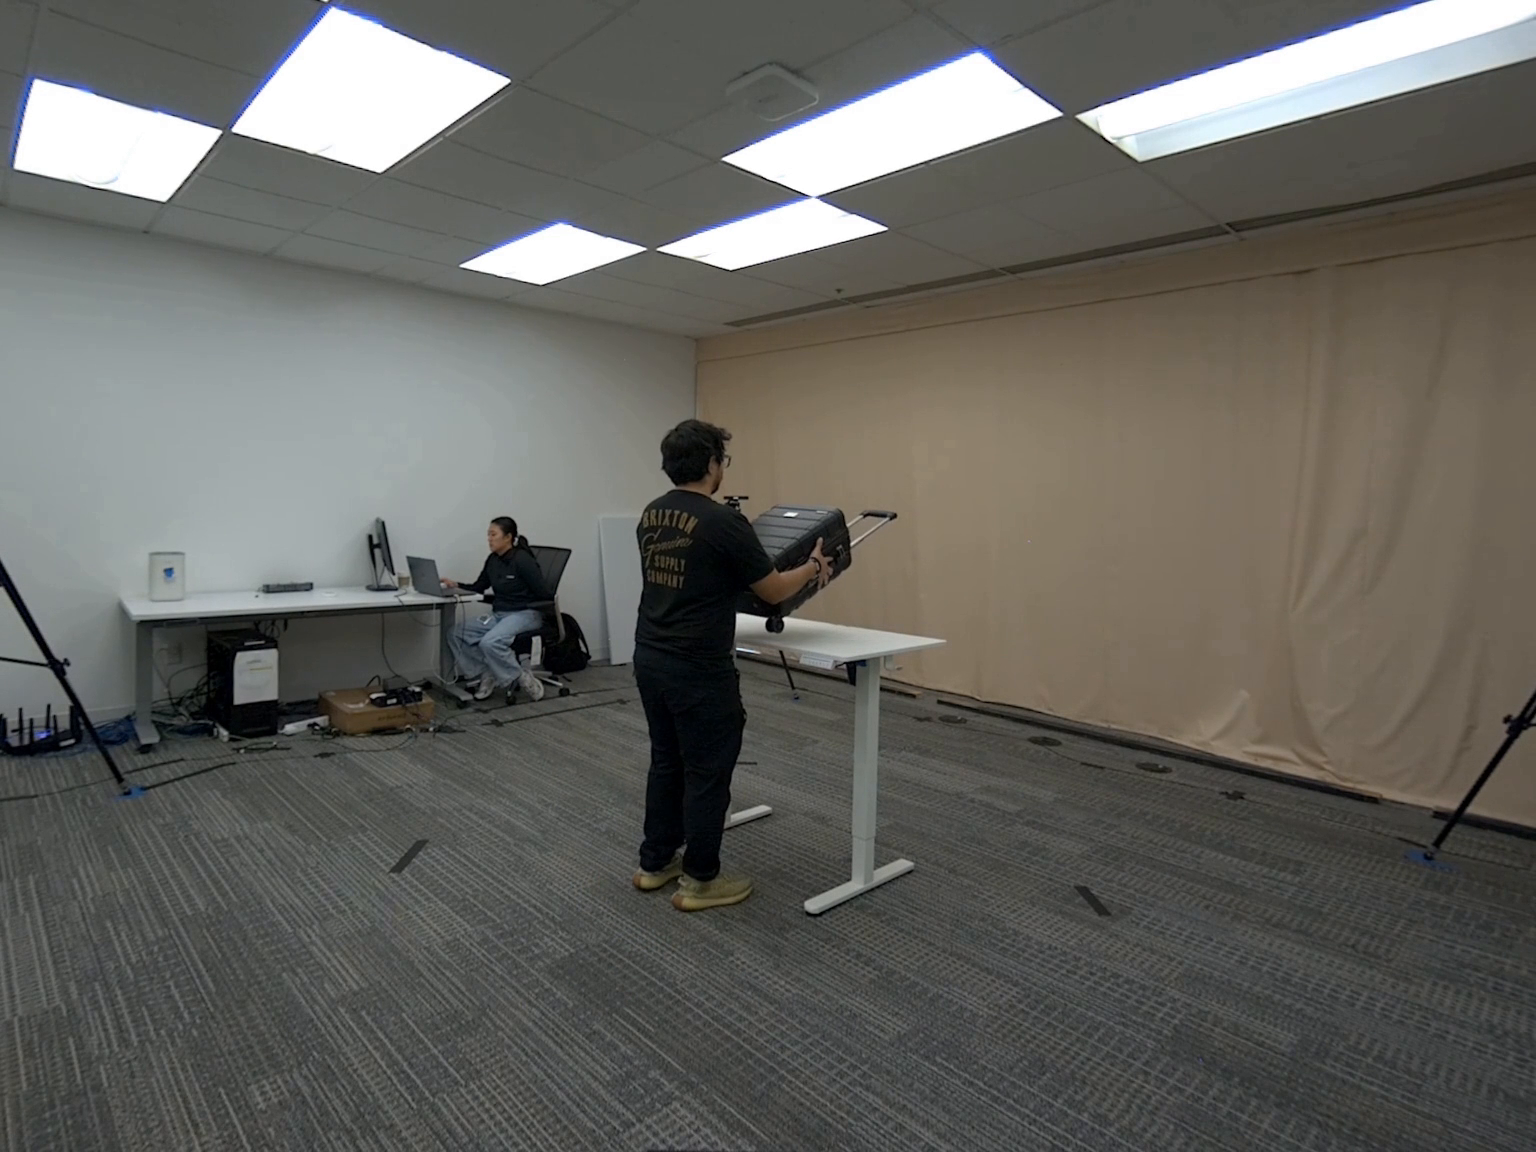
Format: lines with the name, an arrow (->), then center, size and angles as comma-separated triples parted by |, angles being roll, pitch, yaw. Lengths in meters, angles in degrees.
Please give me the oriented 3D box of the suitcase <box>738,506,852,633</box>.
suitcase -> 0.167, -0.152, 3.267 | 0.394, 0.252, 0.972 | 7, 32, 40
